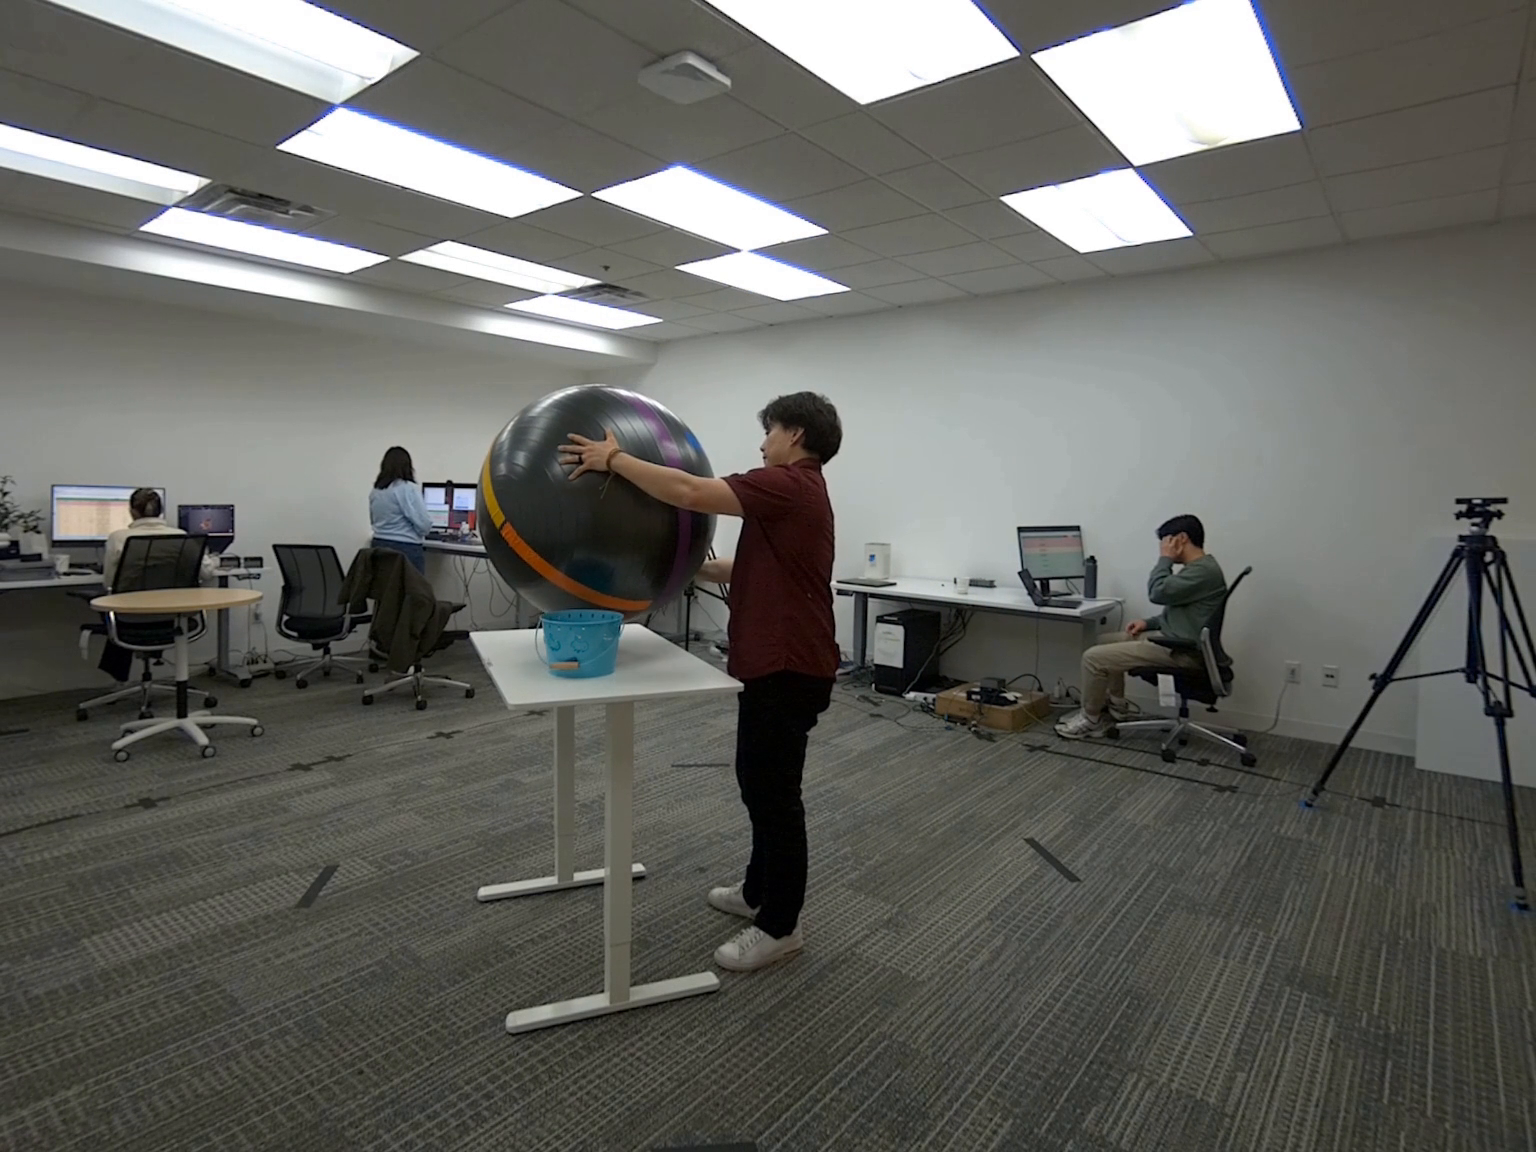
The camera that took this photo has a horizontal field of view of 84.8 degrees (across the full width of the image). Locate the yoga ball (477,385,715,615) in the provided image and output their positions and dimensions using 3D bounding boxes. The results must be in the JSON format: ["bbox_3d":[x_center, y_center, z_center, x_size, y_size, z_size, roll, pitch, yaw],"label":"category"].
[{"bbox_3d":[-0.550,-0.220,2.700,0.757,0.756,0.762,1,4,-2],"label":"yoga ball"}]
